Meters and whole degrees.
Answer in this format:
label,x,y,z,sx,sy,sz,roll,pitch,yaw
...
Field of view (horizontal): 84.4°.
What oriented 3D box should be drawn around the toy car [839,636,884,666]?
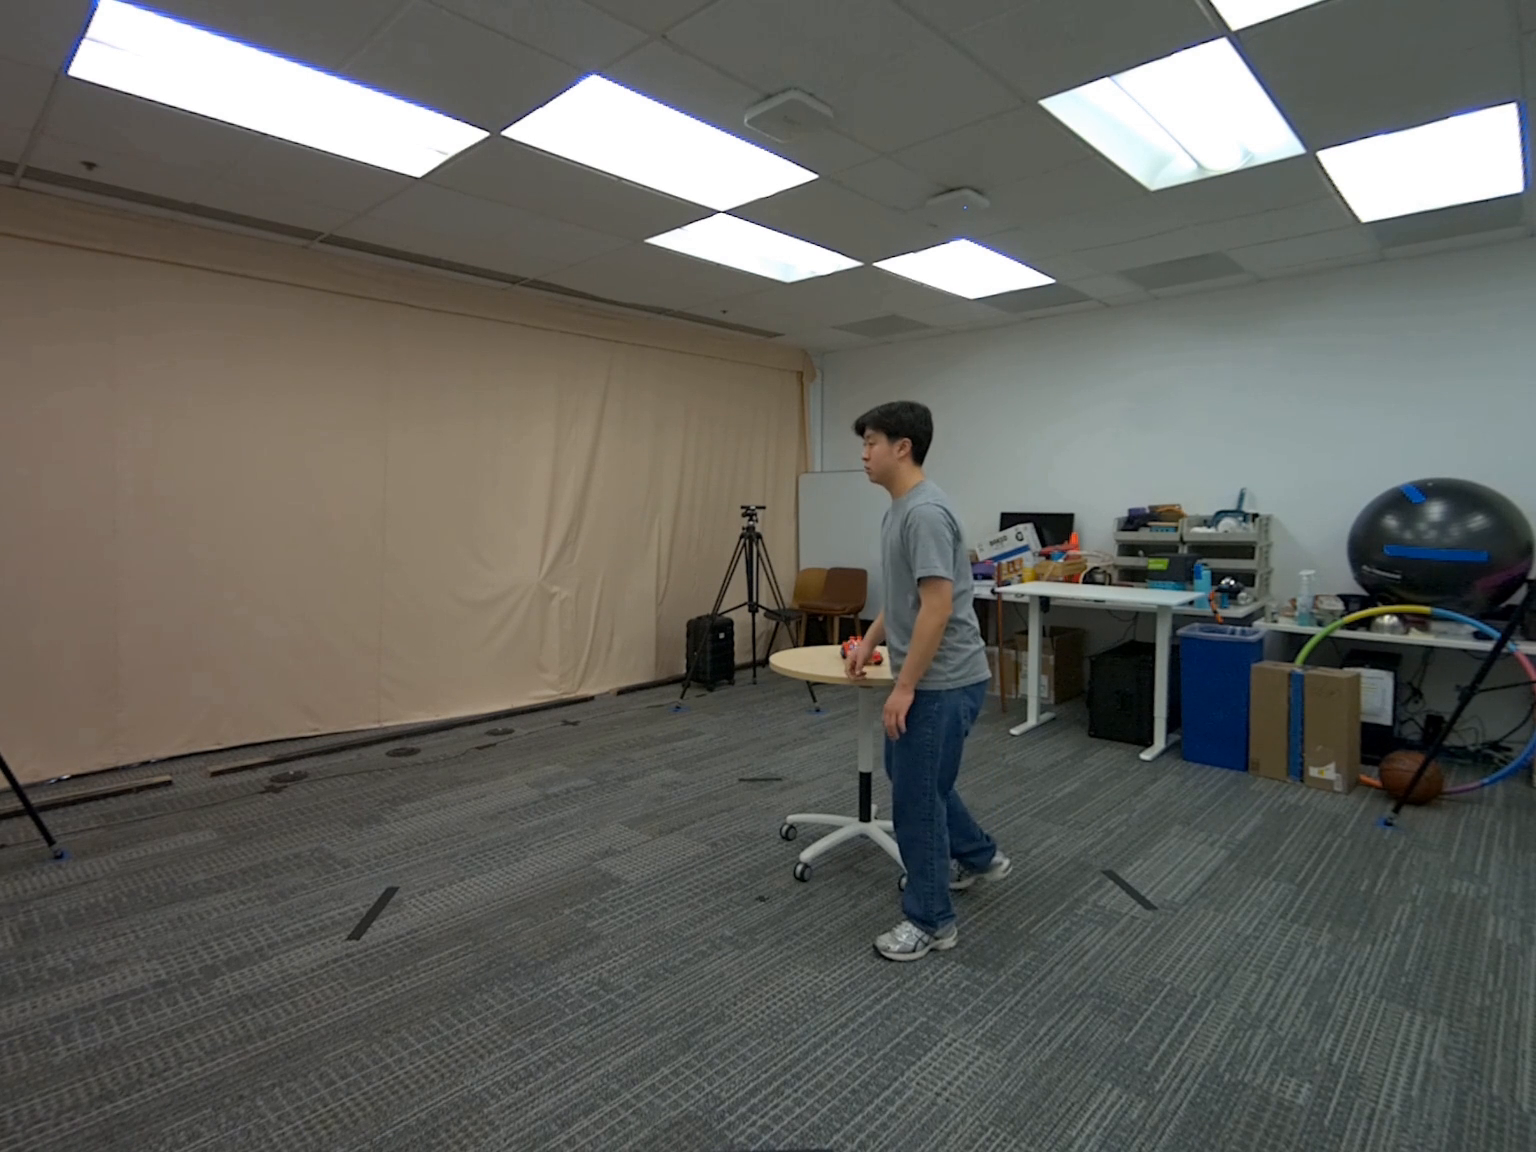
label,x,y,z,sx,sy,sz,roll,pitch,yaw
toy car,0.373,0.300,3.310,0.129,0.082,0.259,-1,15,-8
